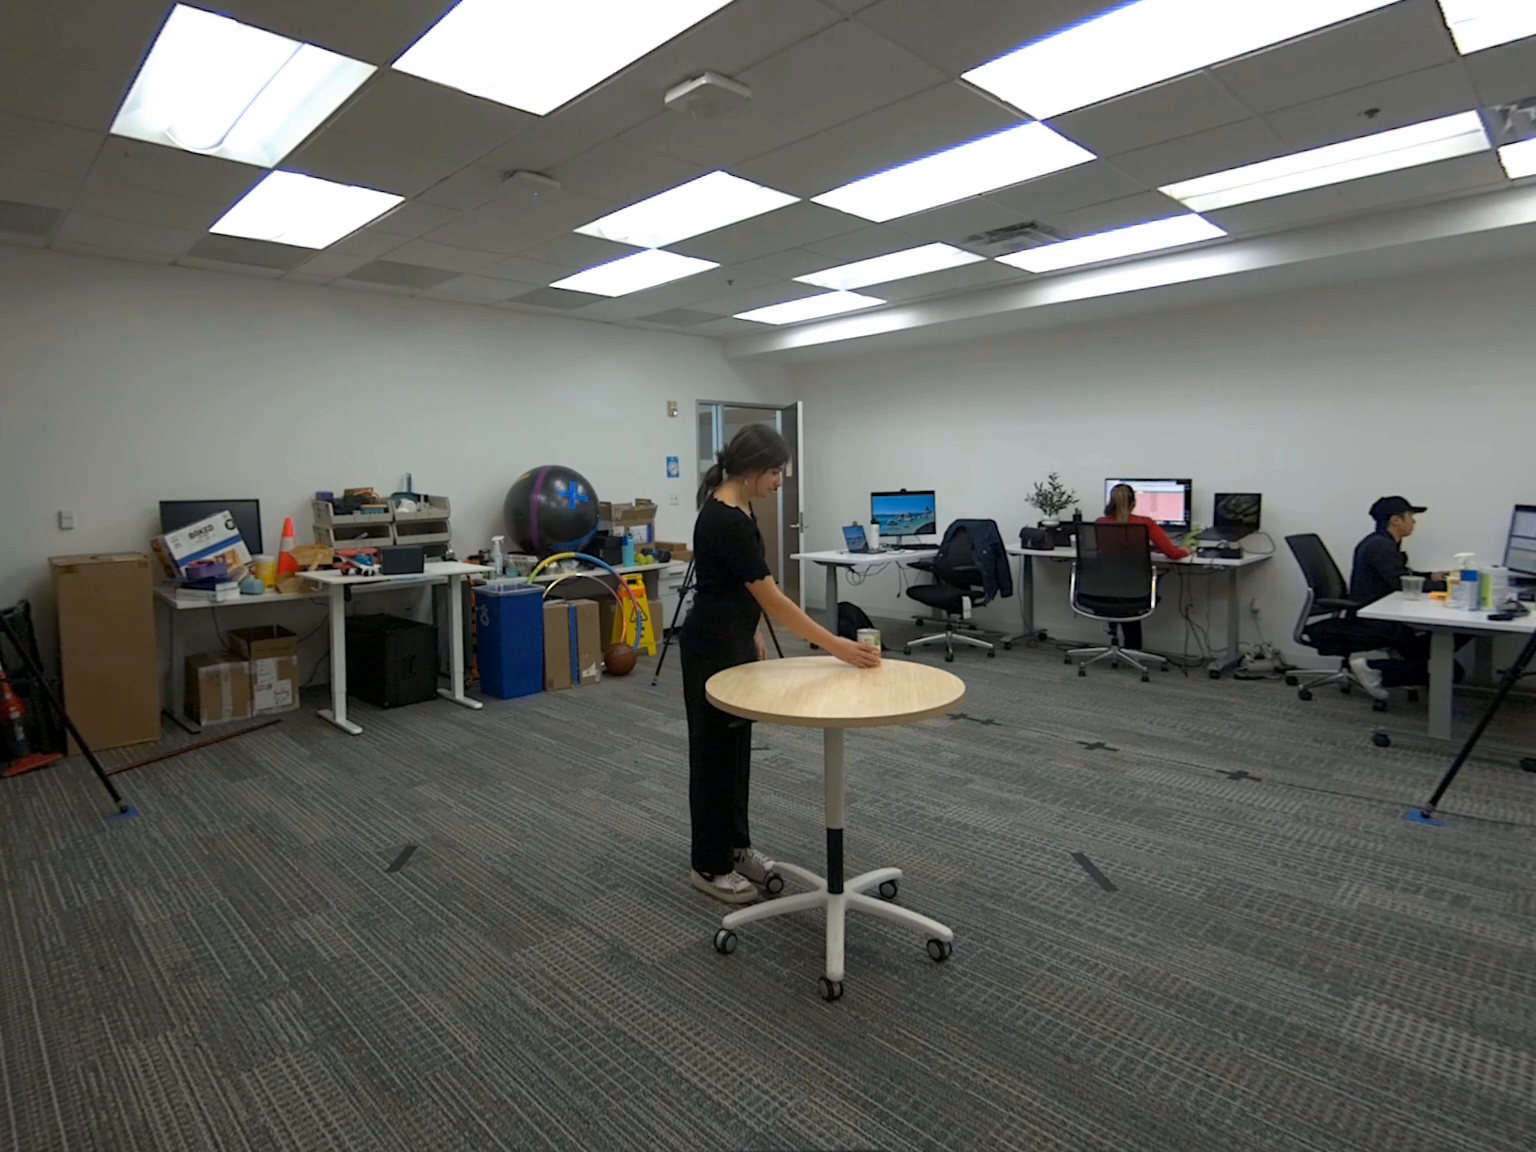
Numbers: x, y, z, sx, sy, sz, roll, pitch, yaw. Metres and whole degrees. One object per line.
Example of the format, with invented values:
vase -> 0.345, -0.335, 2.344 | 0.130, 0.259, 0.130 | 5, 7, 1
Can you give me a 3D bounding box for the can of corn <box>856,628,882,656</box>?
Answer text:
can of corn -> 0.327, 0.232, 2.783 | 0.074, 0.111, 0.074 | -2, 3, -2
